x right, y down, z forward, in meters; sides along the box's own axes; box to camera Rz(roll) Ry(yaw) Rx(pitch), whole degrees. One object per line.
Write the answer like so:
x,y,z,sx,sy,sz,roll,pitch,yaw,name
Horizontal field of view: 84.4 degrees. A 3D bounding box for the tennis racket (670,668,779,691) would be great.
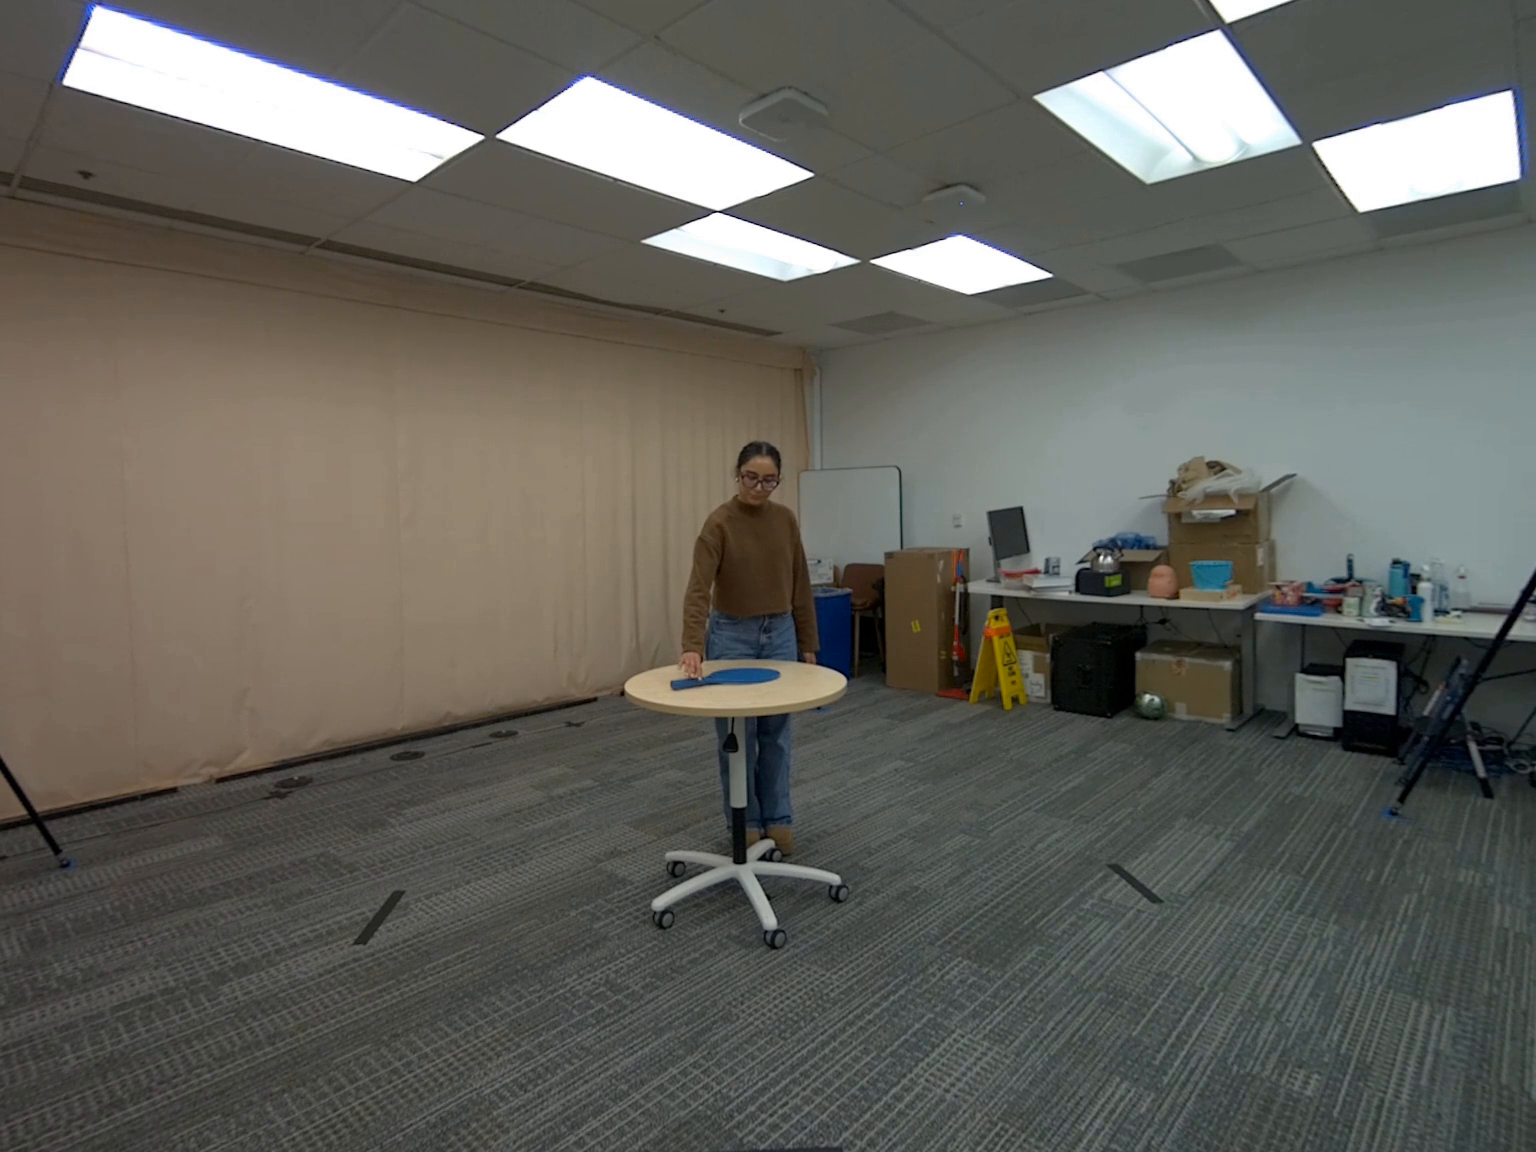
-0.143,0.356,2.926,0.421,0.031,0.220,-3,6,-33,tennis racket
